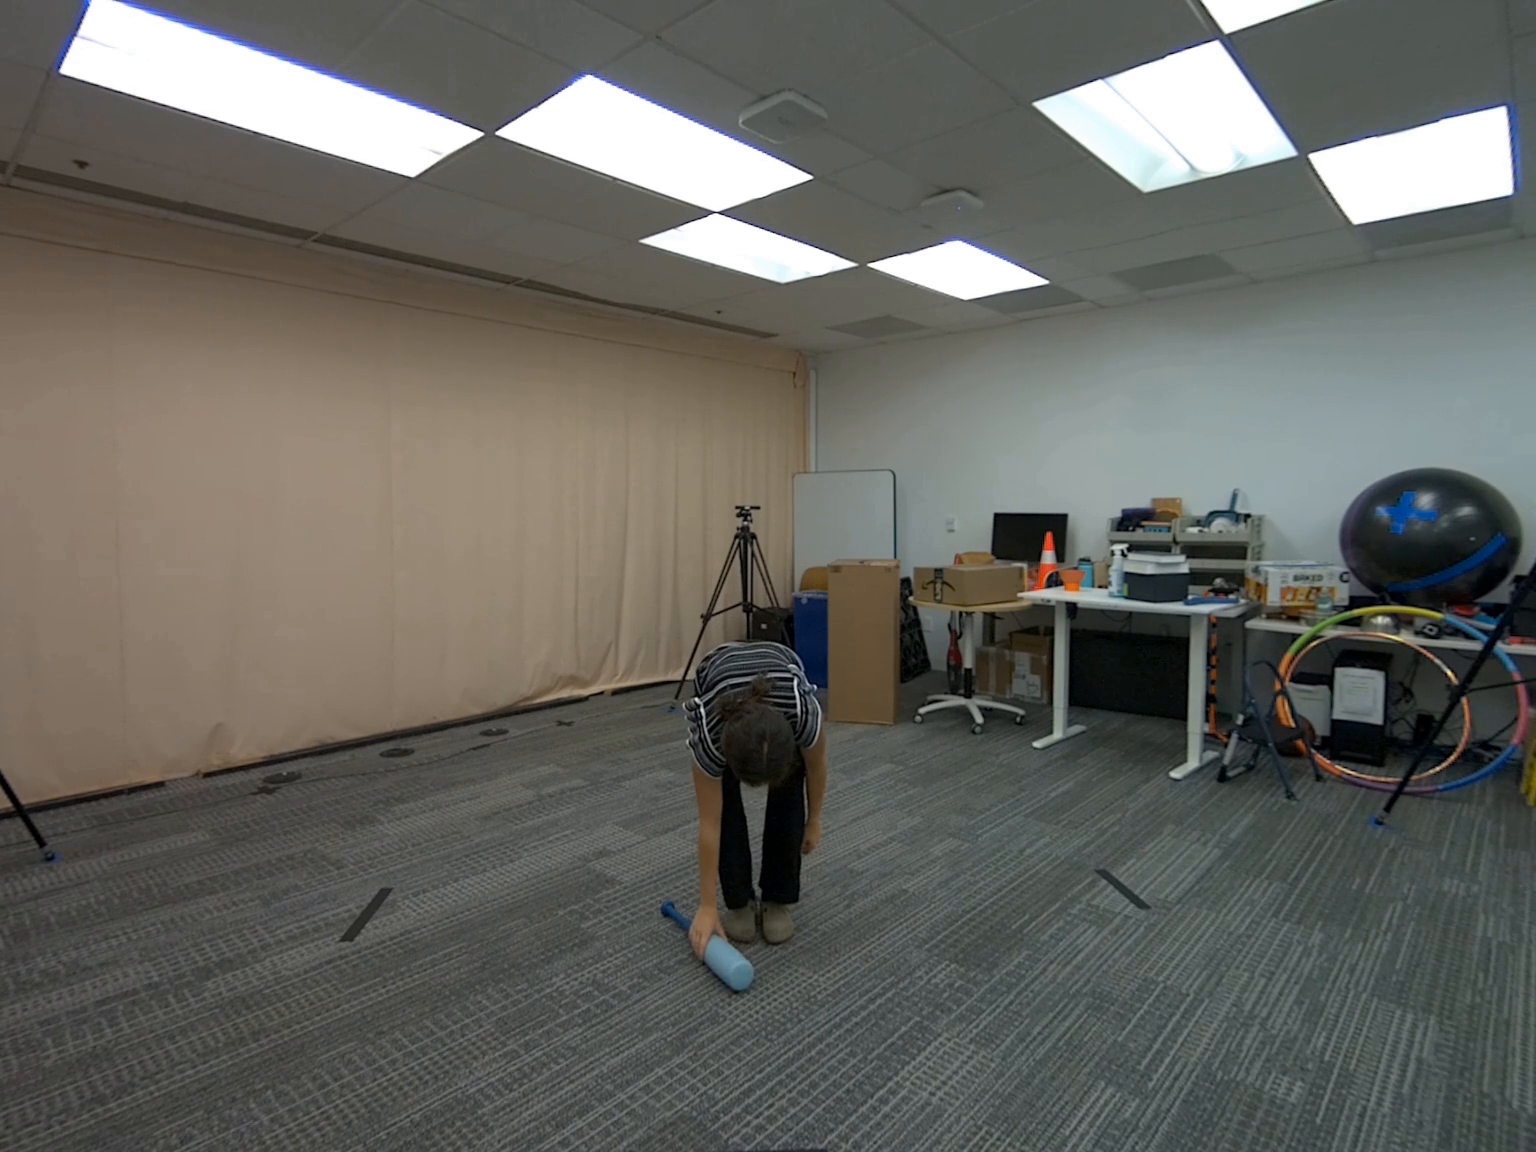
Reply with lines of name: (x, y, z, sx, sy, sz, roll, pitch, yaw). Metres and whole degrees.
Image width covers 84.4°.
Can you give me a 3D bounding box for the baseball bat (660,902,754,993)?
baseball bat: (-0.198, 1.140, 2.630, 0.087, 0.089, 0.557, -2, 2, -28)
